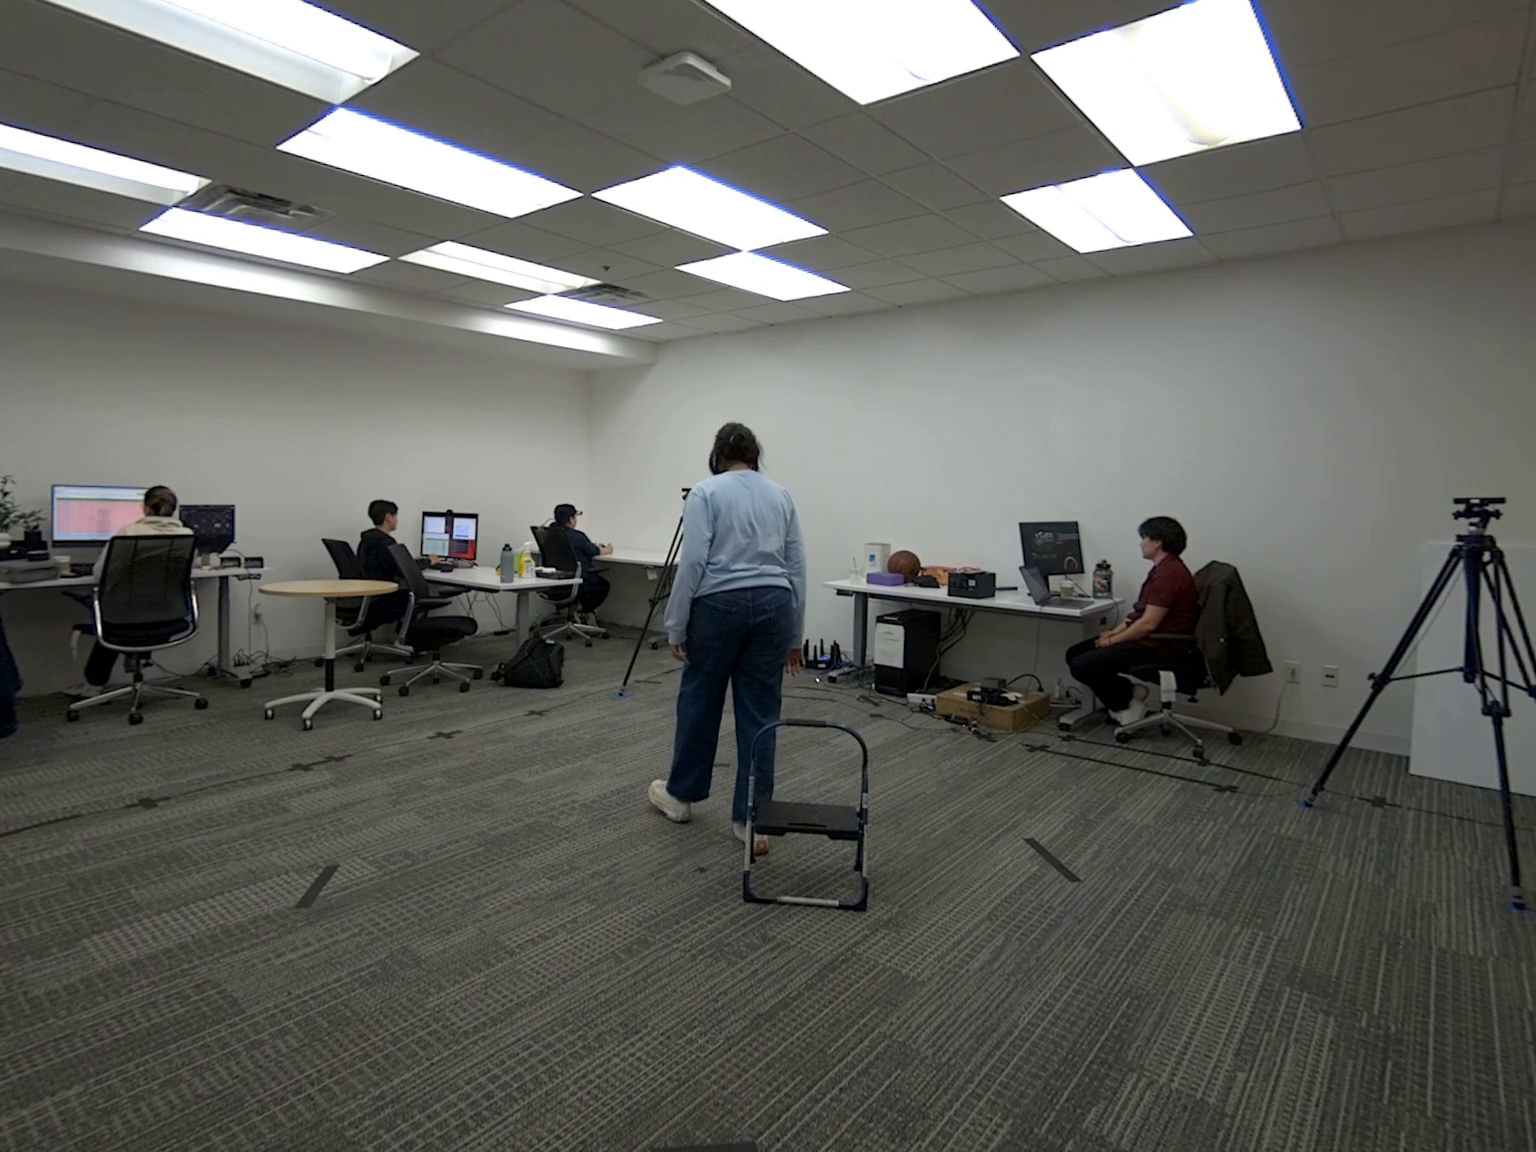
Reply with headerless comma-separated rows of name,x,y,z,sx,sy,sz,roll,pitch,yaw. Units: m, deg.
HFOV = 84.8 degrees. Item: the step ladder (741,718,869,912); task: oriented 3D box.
step ladder,0.135,0.785,2.994,0.433,0.605,0.348,2,3,5
